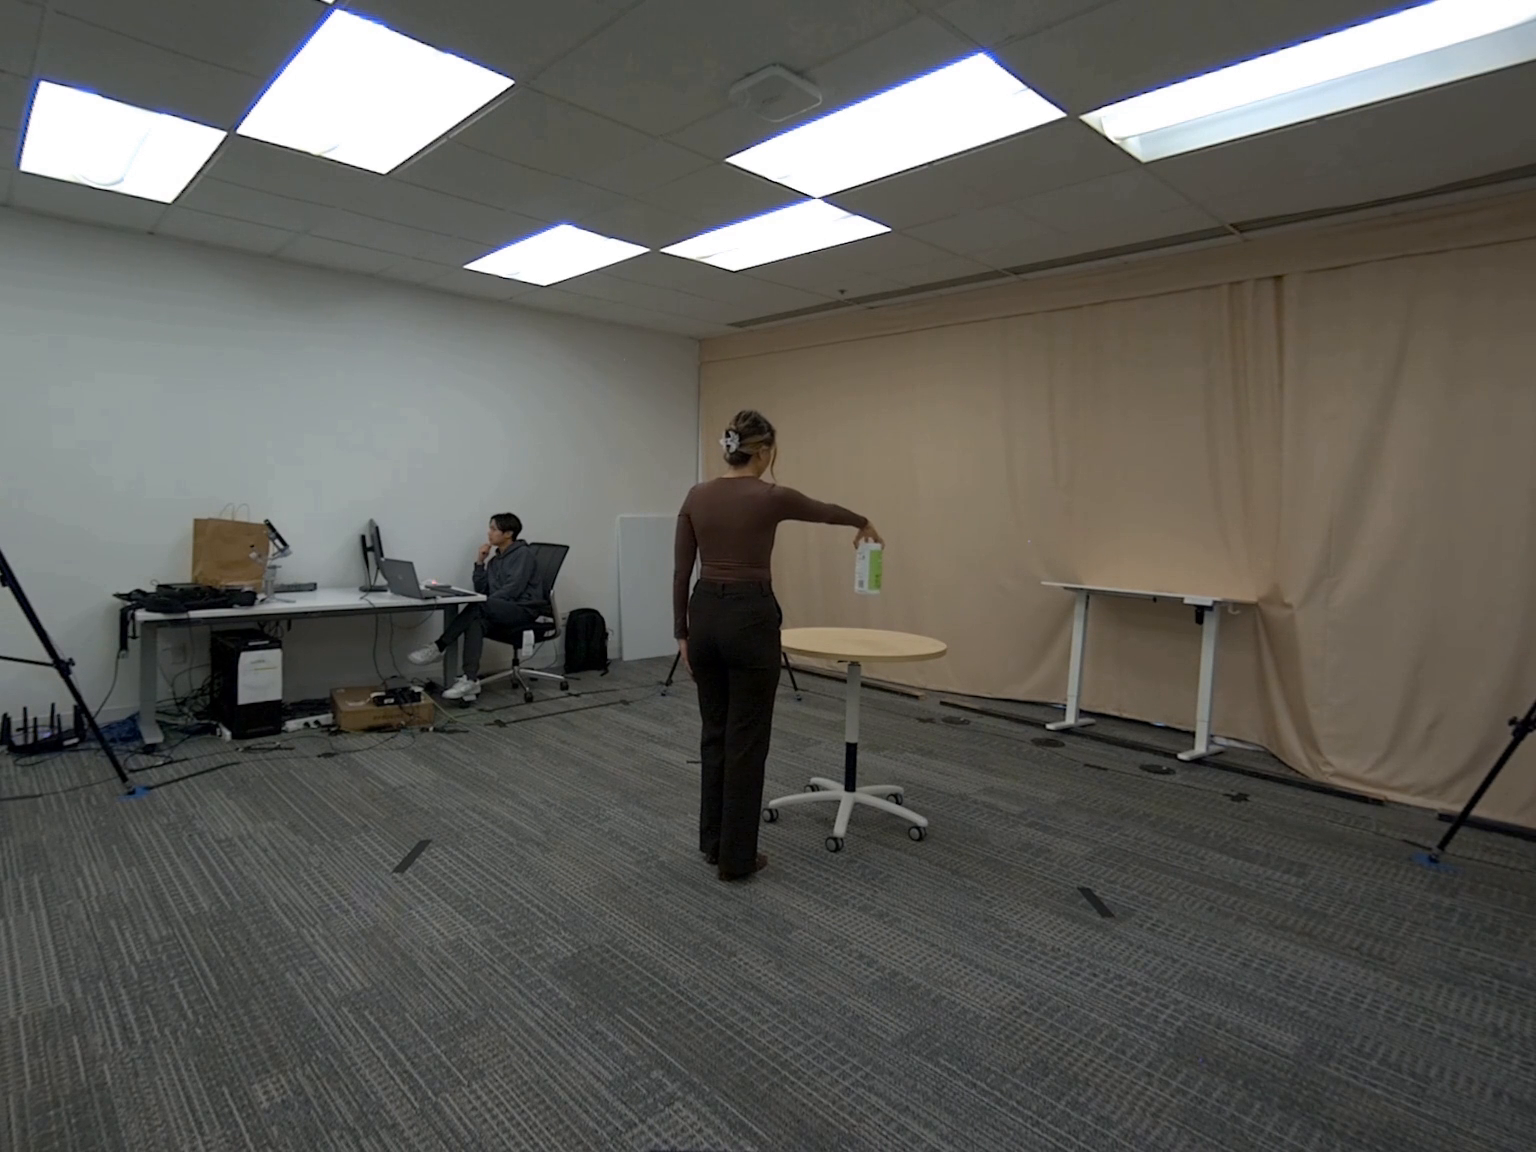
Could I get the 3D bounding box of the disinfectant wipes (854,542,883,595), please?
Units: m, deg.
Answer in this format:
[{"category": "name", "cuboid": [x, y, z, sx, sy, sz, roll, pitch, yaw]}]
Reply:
[{"category": "disinfectant wipes", "cuboid": [0.419, -0.032, 3.536, 0.118, 0.217, 0.118, 1, 4, -1]}]
